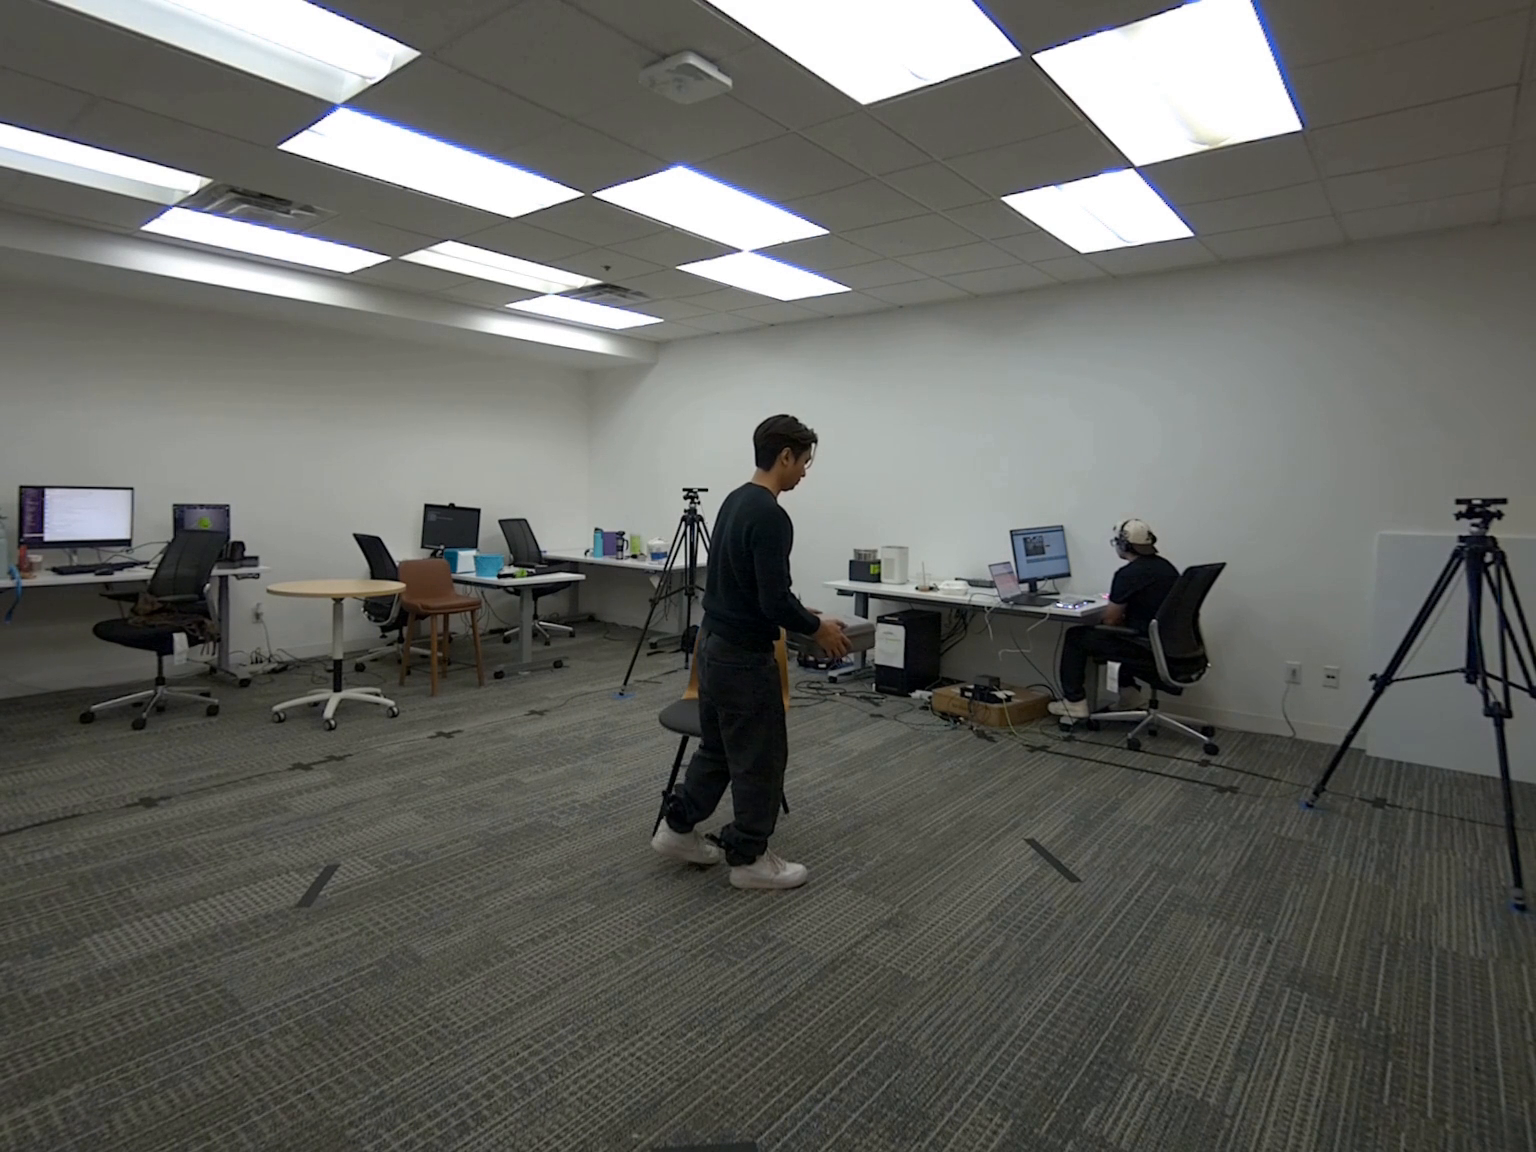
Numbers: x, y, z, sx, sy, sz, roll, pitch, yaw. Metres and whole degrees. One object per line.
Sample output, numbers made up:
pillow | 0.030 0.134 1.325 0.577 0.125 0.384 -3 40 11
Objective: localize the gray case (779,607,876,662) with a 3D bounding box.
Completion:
gray case | 0.206 0.208 3.068 0.256 0.103 0.264 -8 11 -20
